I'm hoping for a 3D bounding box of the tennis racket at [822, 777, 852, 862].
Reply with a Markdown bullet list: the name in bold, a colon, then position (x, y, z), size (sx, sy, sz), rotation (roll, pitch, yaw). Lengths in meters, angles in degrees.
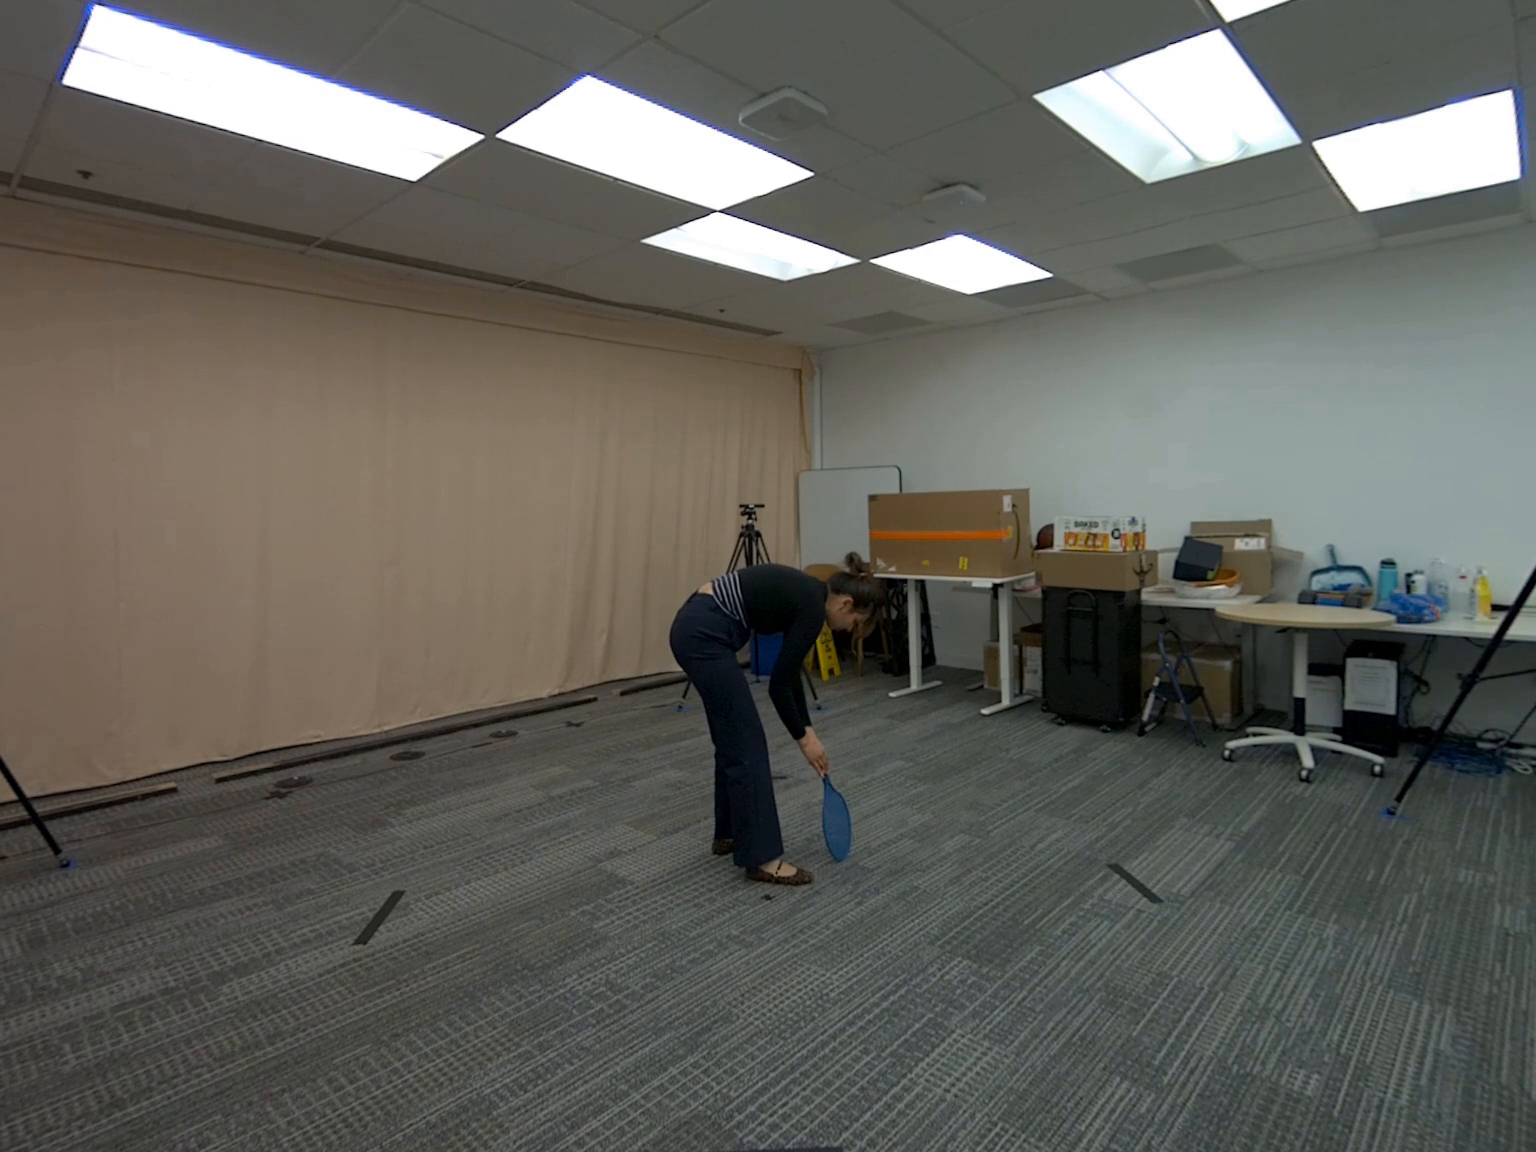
- **tennis racket**: position (0.262, 0.895, 3.281), size (0.032, 0.431, 0.209), rotation (-10, 6, 30)
